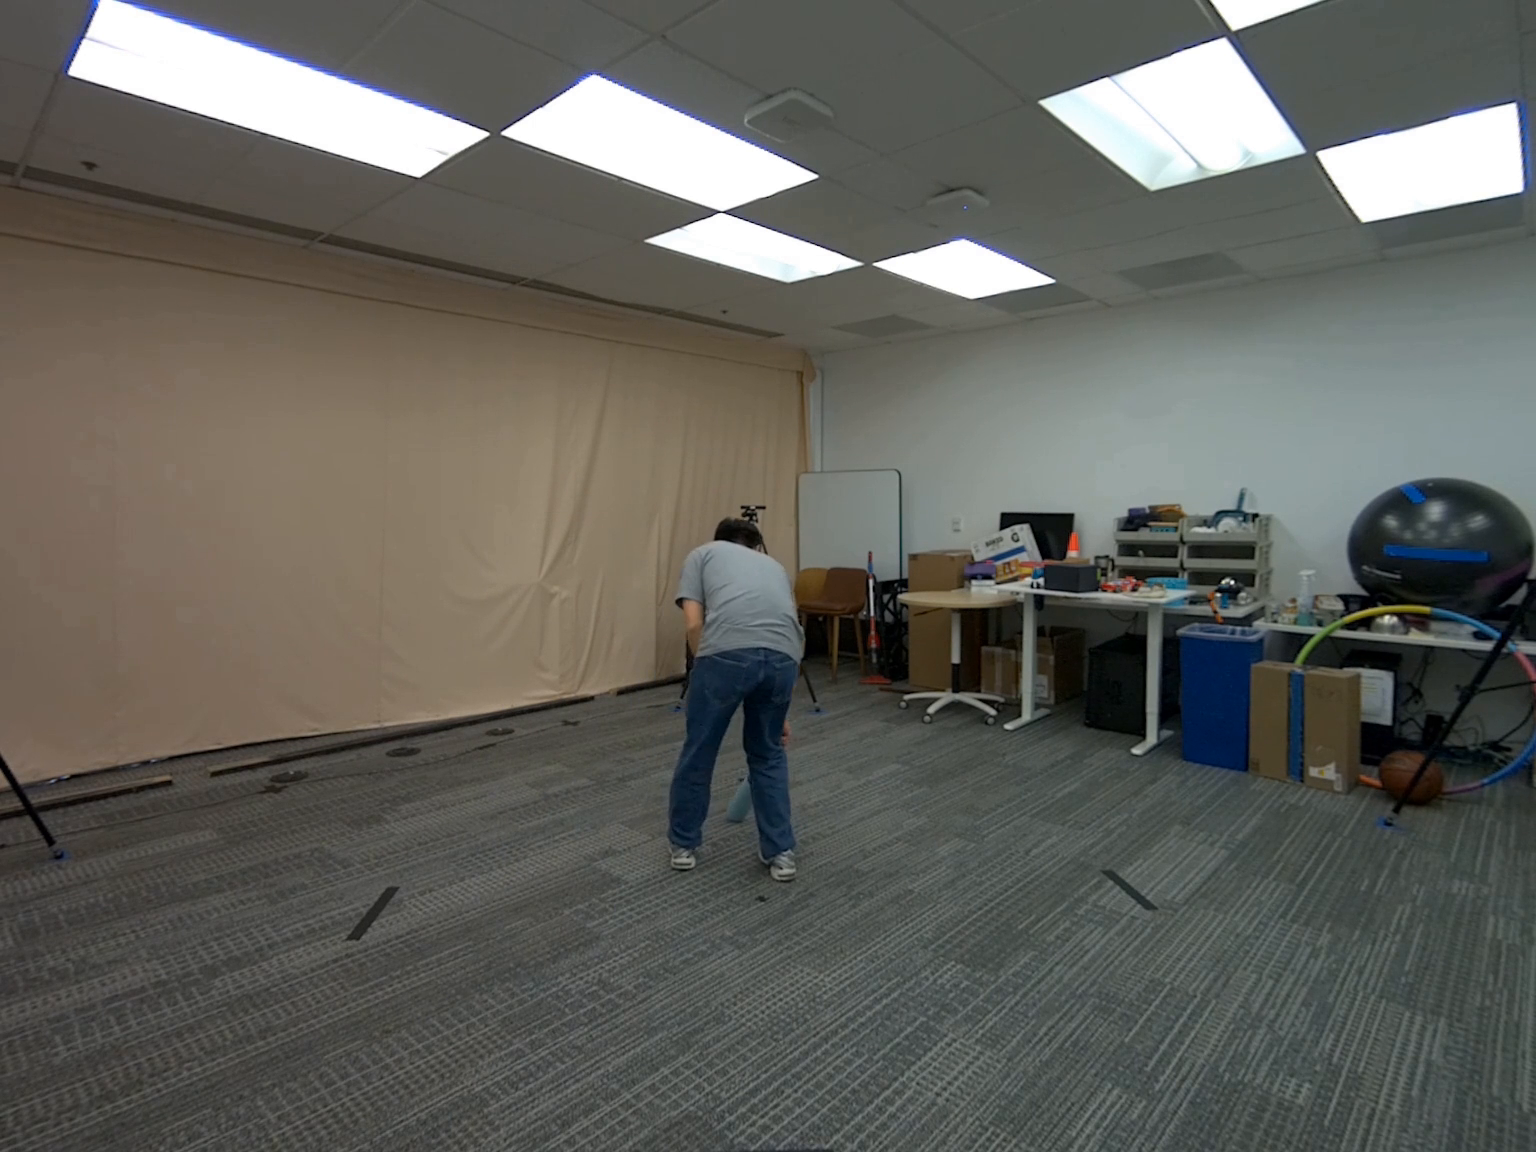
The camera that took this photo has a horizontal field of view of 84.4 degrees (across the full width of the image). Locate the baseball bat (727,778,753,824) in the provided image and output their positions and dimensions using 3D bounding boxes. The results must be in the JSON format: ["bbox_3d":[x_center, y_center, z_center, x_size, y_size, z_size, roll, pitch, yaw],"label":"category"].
[{"bbox_3d":[-0.067,0.868,3.590,0.088,0.541,0.091,17,35,-14],"label":"baseball bat"}]
